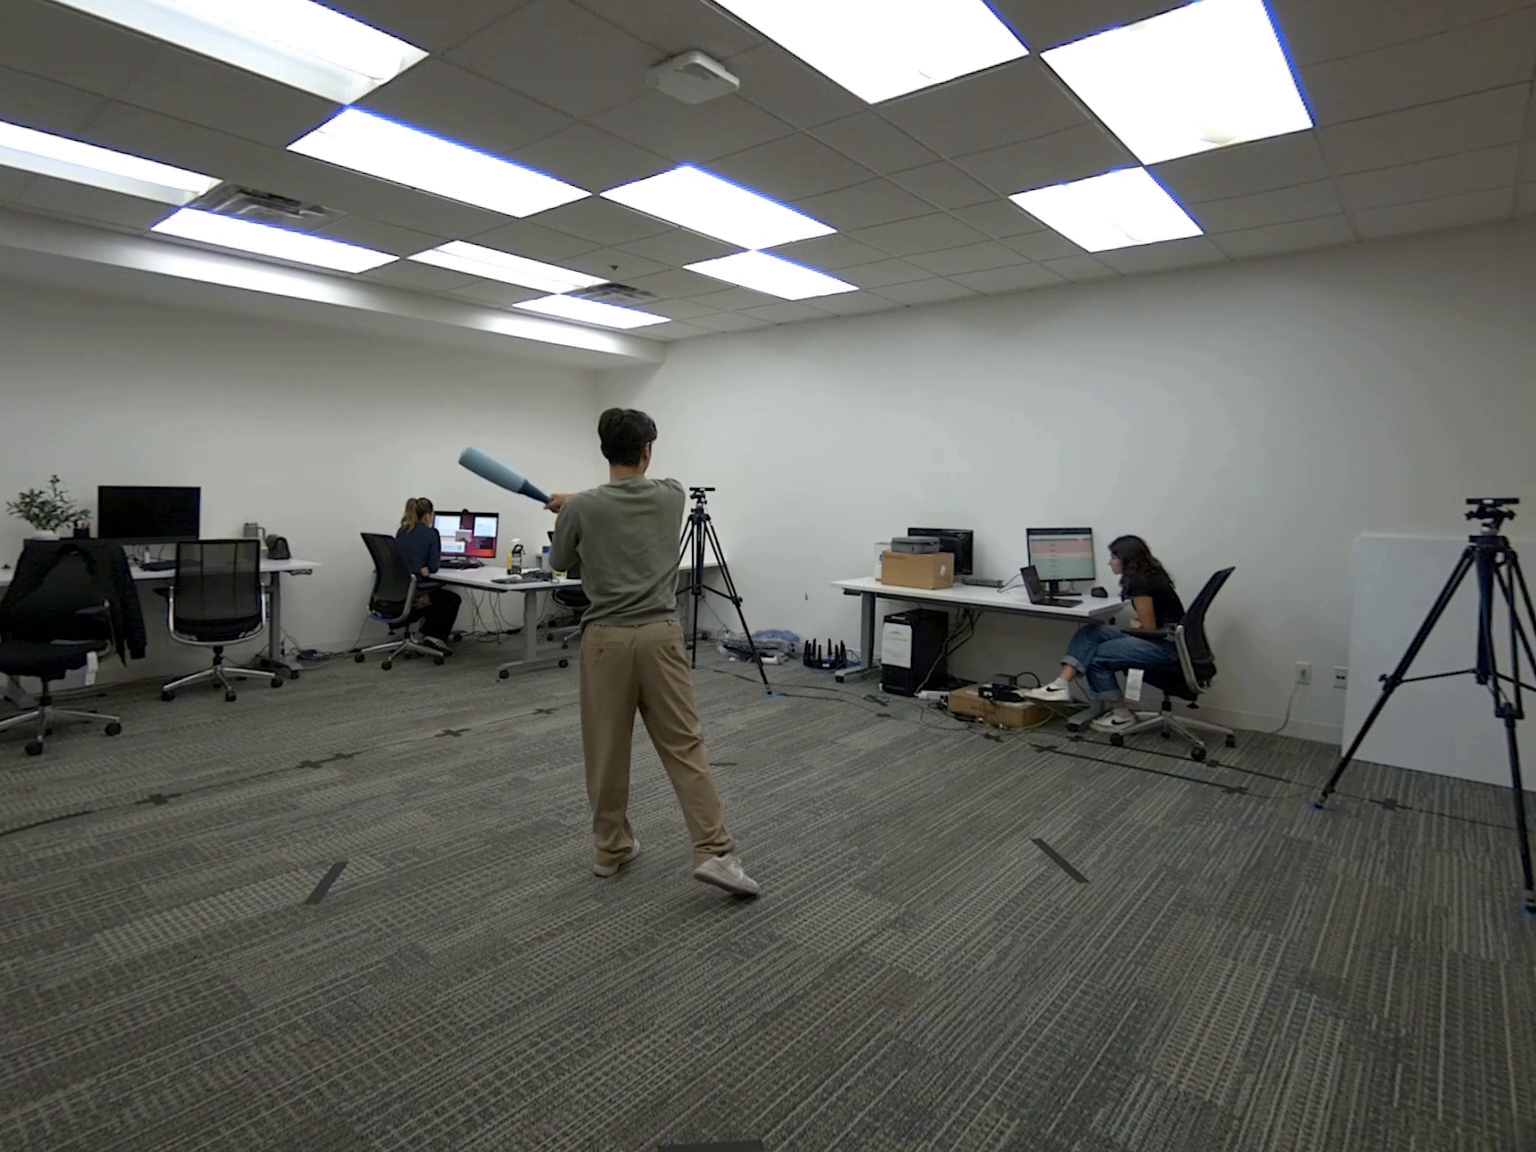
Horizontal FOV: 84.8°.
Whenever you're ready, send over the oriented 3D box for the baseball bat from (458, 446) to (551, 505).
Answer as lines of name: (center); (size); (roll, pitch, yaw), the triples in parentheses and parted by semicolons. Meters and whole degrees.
baseball bat: (-0.929, -0.324, 3.294); (0.530, 0.089, 0.091); (31, -7, -18)
